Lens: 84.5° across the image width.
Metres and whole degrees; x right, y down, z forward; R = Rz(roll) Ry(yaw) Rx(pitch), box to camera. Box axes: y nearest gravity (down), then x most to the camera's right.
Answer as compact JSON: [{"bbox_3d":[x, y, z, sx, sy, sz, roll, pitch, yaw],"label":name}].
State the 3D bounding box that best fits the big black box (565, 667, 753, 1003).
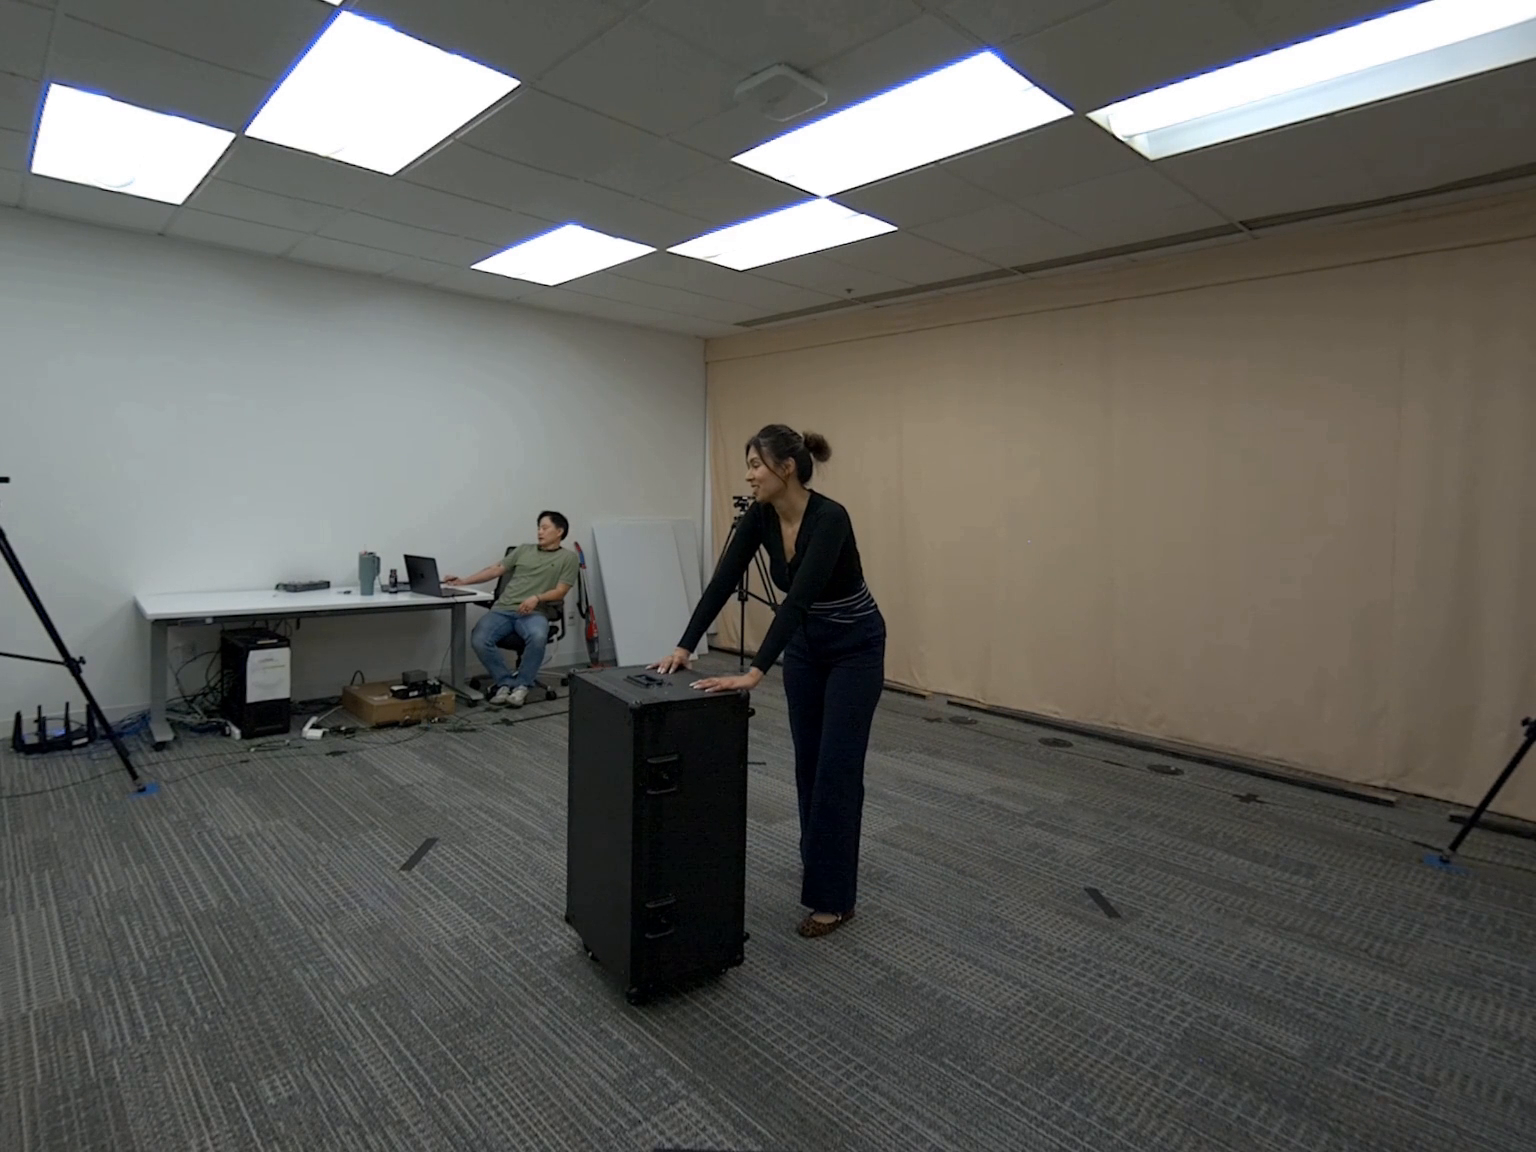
[{"bbox_3d":[-0.338,0.732,2.480,0.388,0.860,0.533,0,3,-33],"label":"big black box"}]
